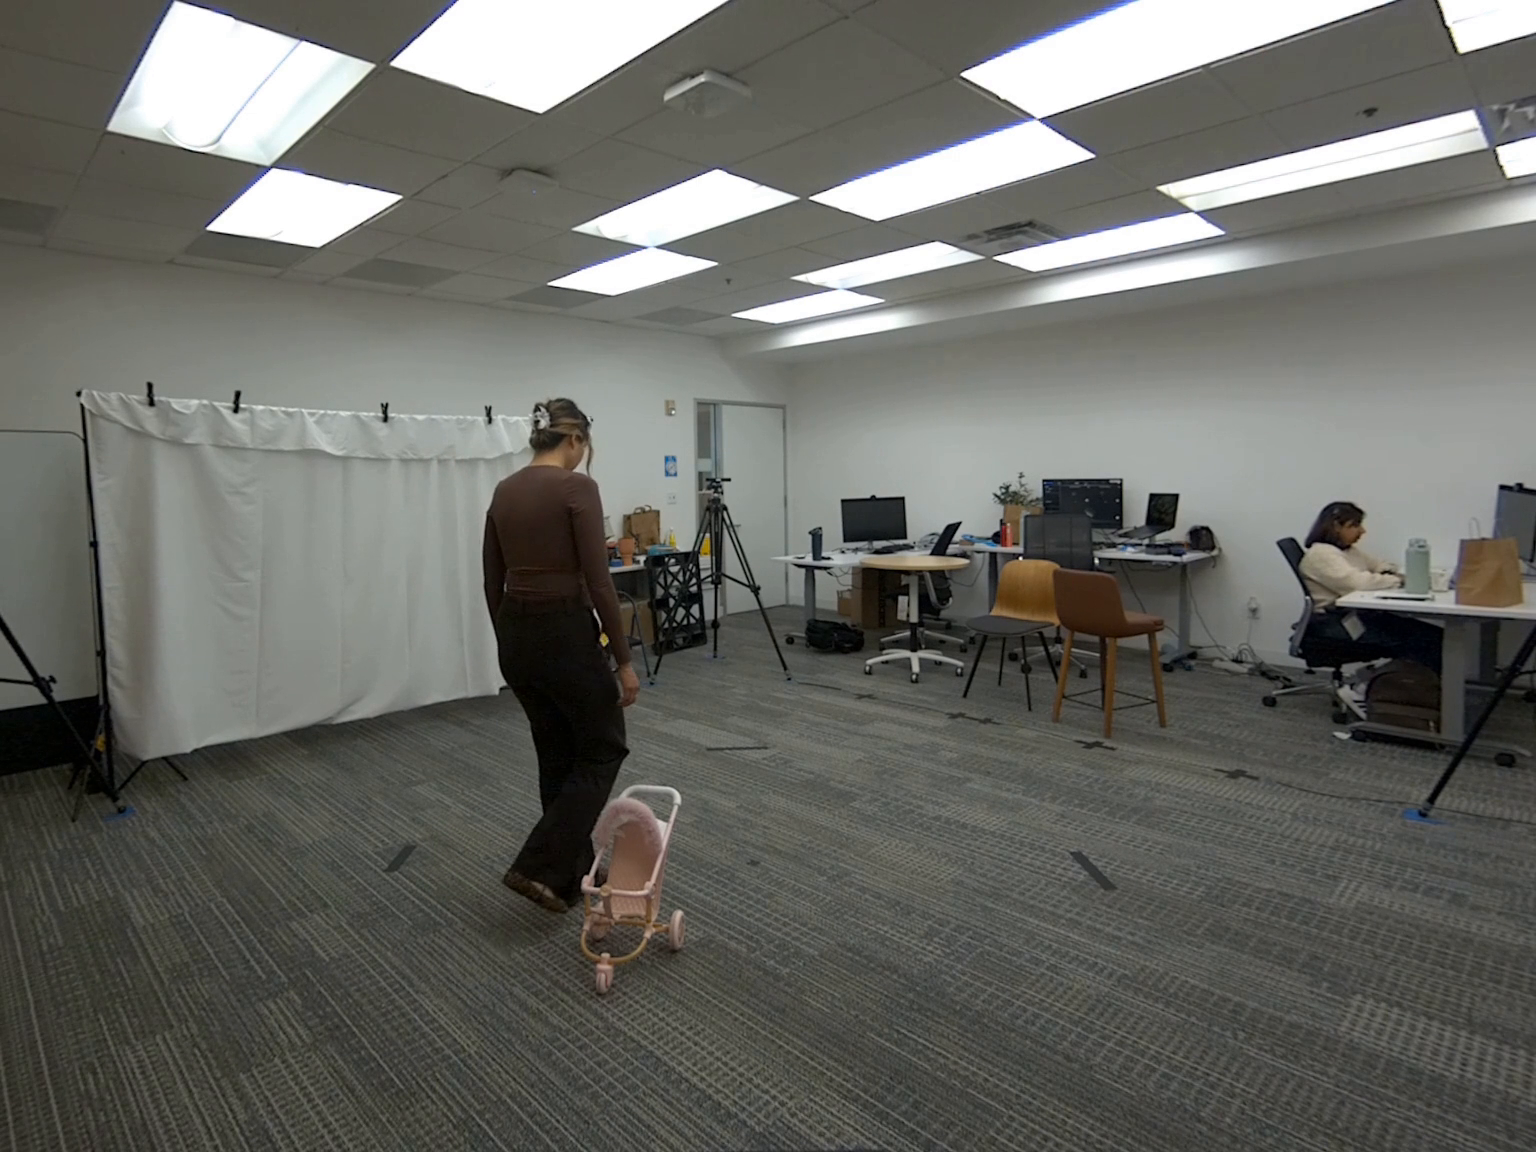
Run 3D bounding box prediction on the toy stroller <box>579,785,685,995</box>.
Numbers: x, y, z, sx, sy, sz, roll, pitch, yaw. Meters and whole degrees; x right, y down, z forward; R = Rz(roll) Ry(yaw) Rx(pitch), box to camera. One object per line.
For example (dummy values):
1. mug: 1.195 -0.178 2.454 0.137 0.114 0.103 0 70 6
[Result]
1. toy stroller: -0.410 0.900 2.511 0.286 0.541 0.332 -1 -13 18
